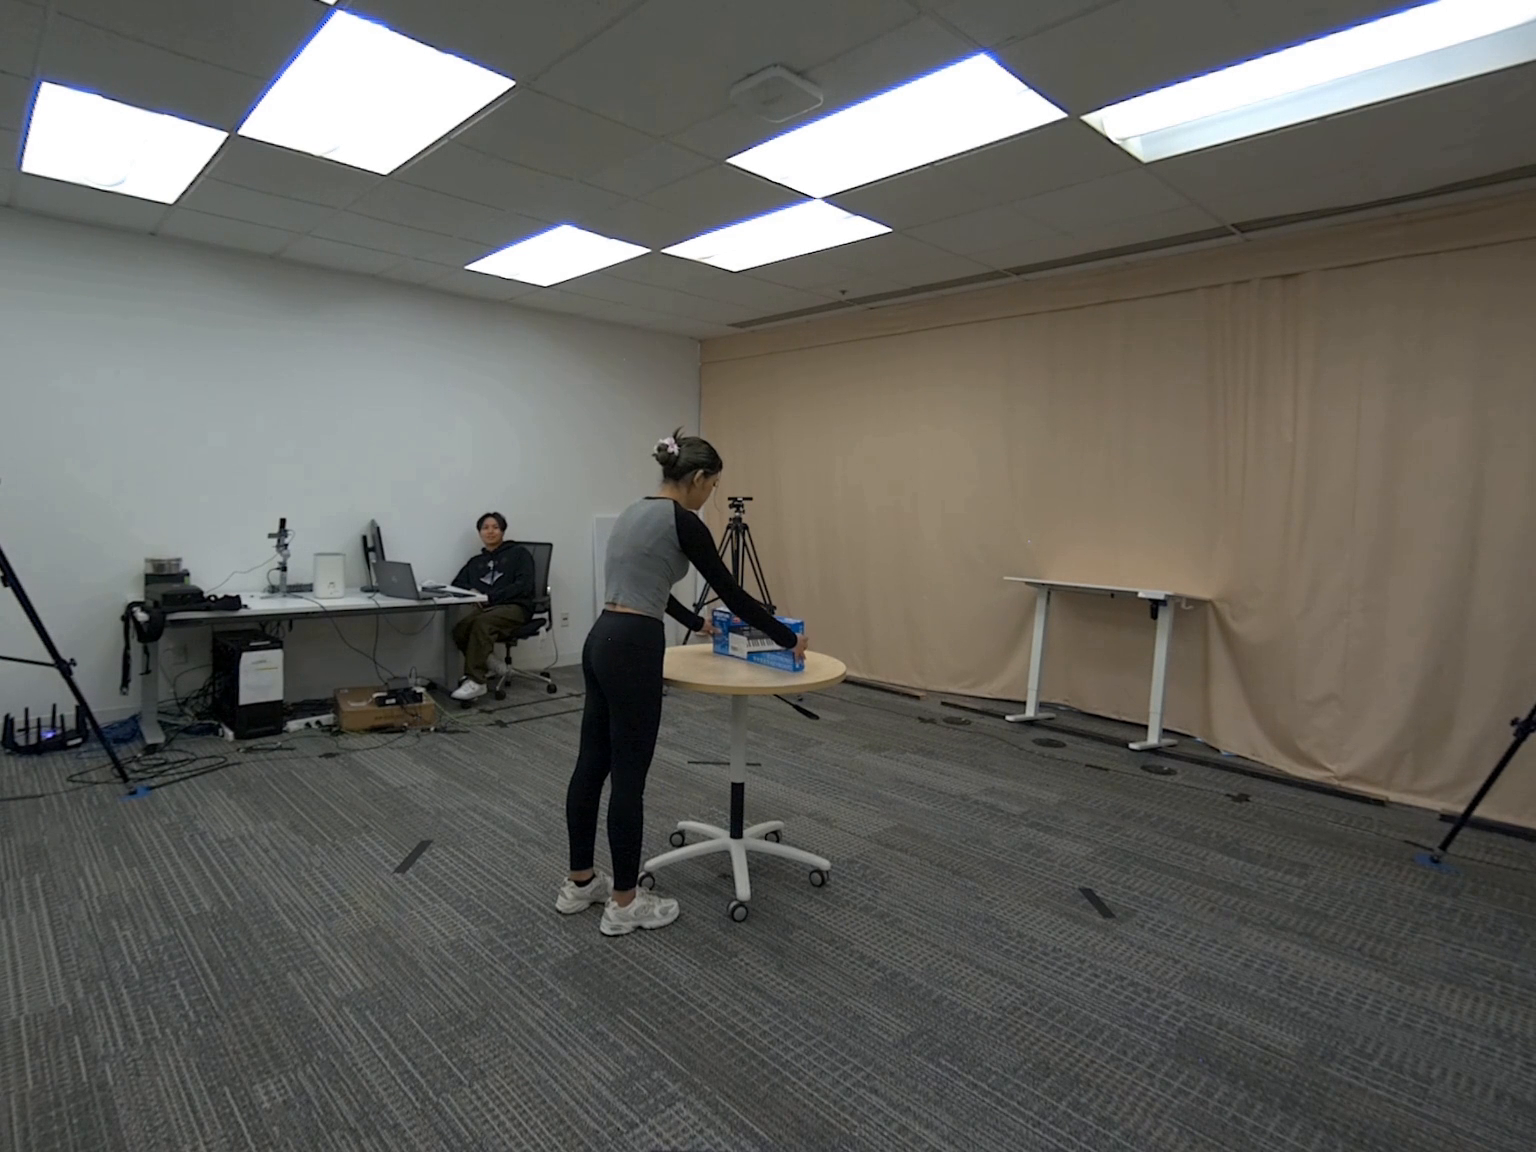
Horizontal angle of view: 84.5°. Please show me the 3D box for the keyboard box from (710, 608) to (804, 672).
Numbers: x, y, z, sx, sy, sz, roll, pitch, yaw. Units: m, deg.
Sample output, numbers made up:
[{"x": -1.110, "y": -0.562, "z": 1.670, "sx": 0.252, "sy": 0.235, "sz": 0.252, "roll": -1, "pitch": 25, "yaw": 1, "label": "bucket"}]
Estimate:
[{"x": -0.050, "y": 0.232, "z": 3.108, "sx": 0.058, "sy": 0.175, "sz": 0.448, "roll": -6, "pitch": 9, "yaw": -42, "label": "keyboard box"}]
